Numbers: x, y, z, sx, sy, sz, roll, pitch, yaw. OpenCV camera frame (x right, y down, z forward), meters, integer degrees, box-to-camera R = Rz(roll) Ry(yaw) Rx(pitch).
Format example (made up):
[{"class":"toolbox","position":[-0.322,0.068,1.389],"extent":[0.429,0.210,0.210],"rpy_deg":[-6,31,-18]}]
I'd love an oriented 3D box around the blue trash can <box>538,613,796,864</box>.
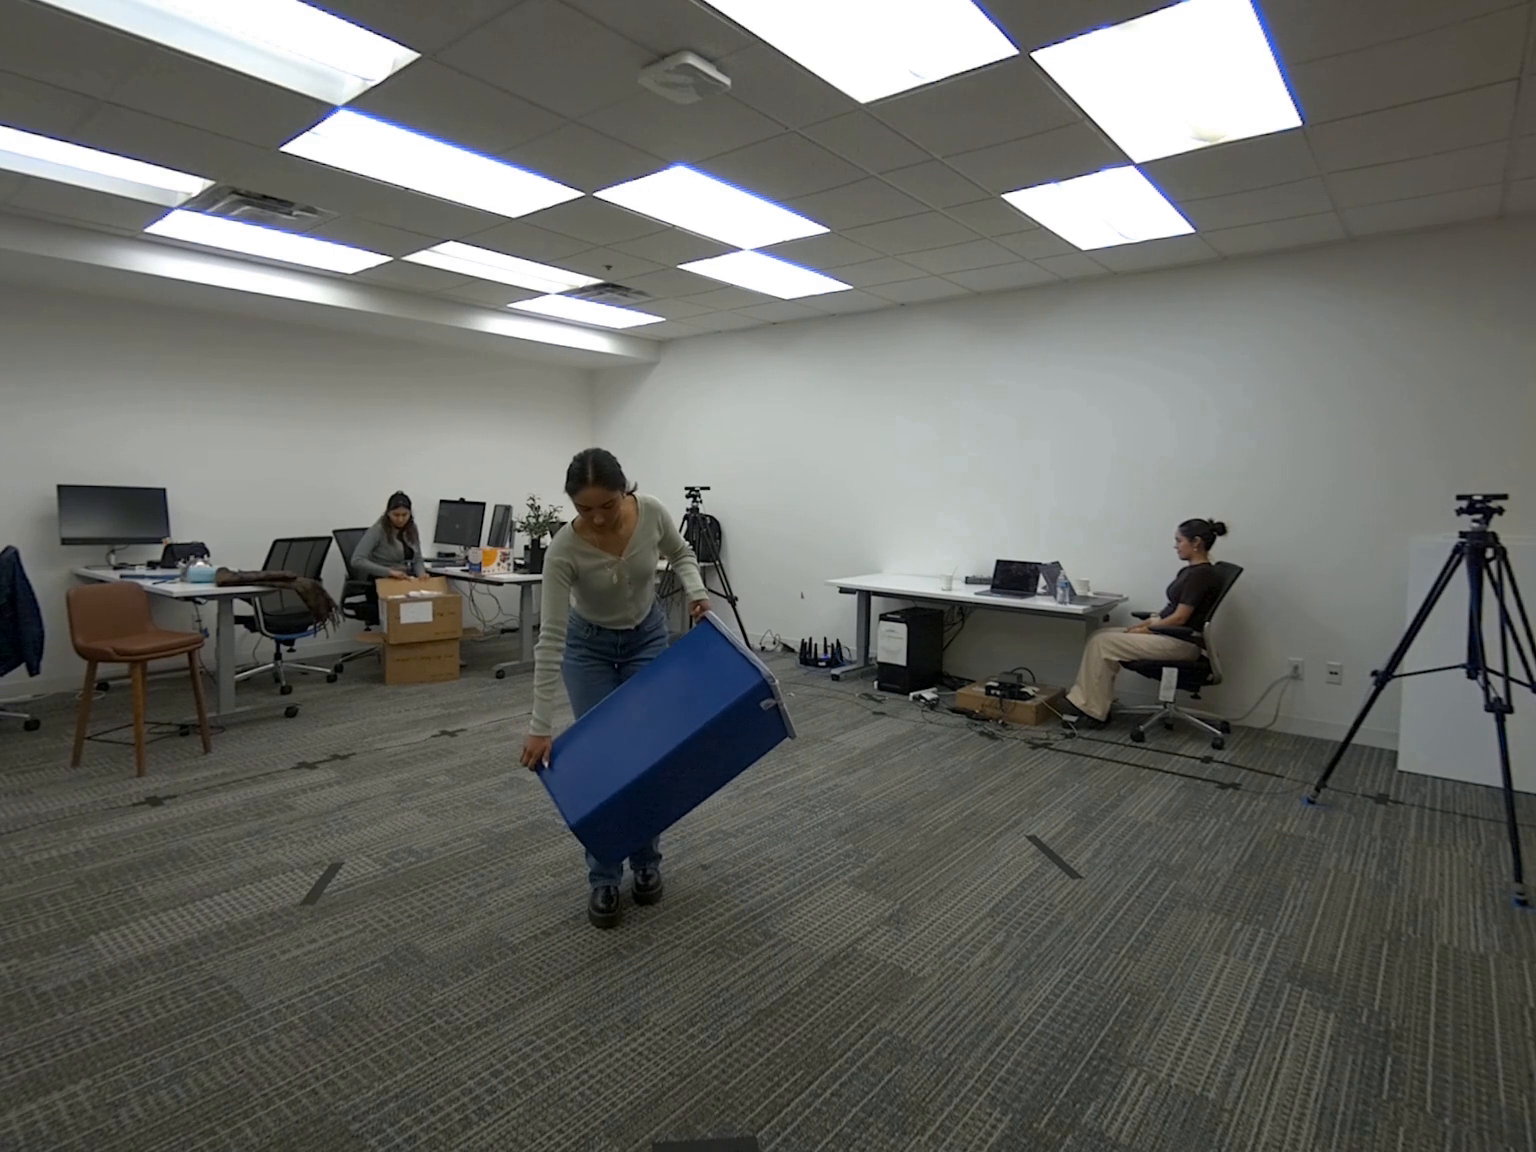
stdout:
[{"class":"blue trash can","position":[-0.332,0.509,2.634],"extent":[0.710,0.364,0.390],"rpy_deg":[-36,49,-14]}]
